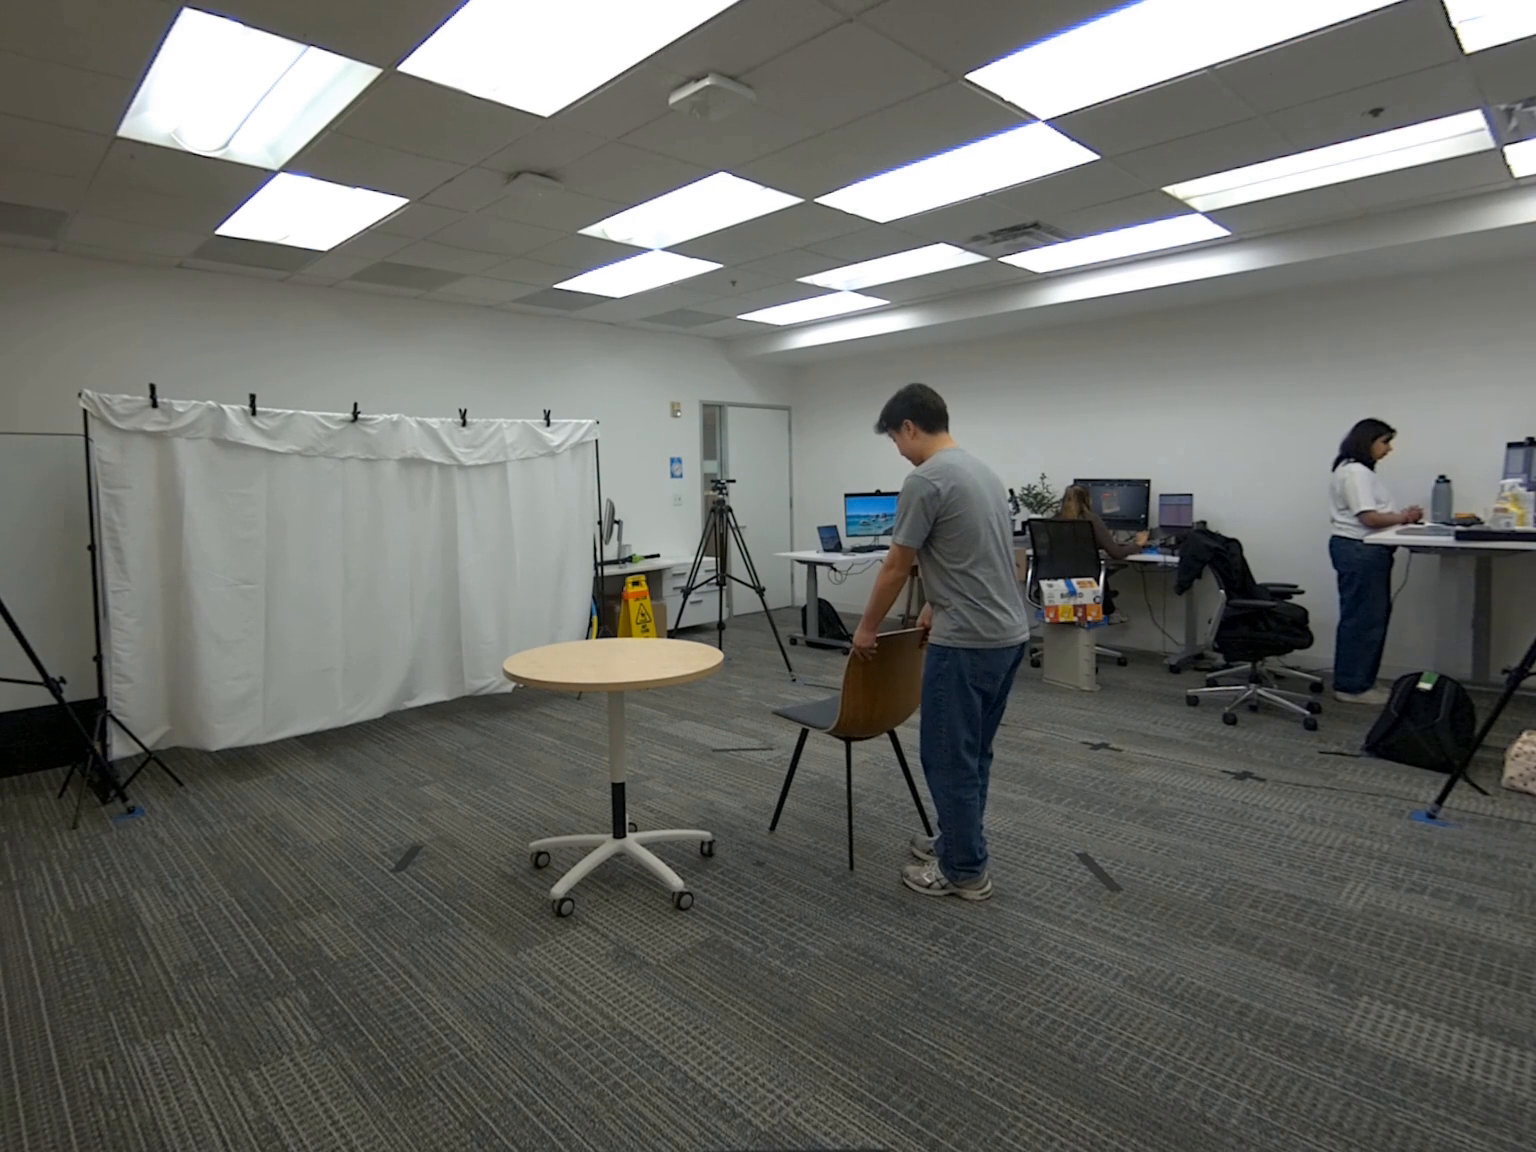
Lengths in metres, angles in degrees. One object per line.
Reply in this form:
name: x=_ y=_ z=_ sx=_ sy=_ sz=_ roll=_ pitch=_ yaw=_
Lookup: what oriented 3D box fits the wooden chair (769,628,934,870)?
wooden chair: x=0.306 y=0.587 z=3.318 sx=0.465 sy=0.871 sz=0.541 roll=-4 pitch=10 yaw=-39
